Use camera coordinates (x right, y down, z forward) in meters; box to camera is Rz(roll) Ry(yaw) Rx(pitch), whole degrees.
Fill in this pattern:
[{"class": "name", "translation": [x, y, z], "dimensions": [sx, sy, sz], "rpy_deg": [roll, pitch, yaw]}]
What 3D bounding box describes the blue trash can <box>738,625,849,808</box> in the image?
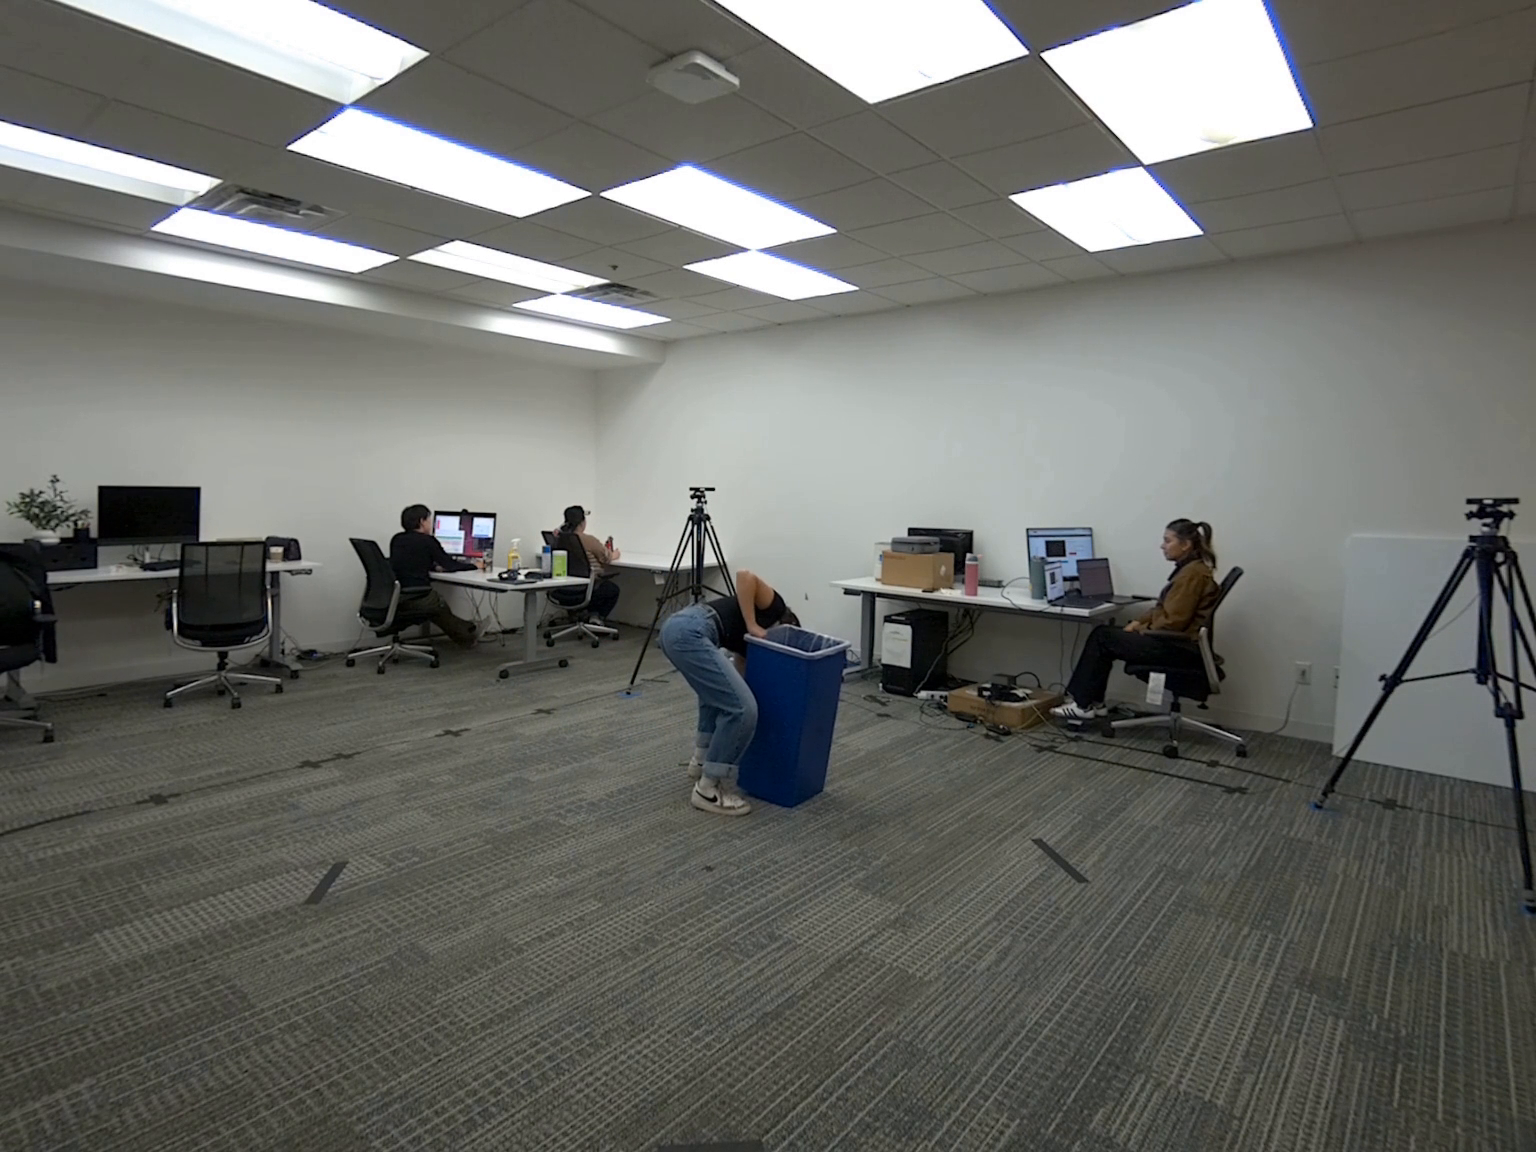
[{"class": "blue trash can", "translation": [0.102, 0.629, 3.871], "dimensions": [0.387, 0.709, 0.367], "rpy_deg": [11, 9, 36]}]
